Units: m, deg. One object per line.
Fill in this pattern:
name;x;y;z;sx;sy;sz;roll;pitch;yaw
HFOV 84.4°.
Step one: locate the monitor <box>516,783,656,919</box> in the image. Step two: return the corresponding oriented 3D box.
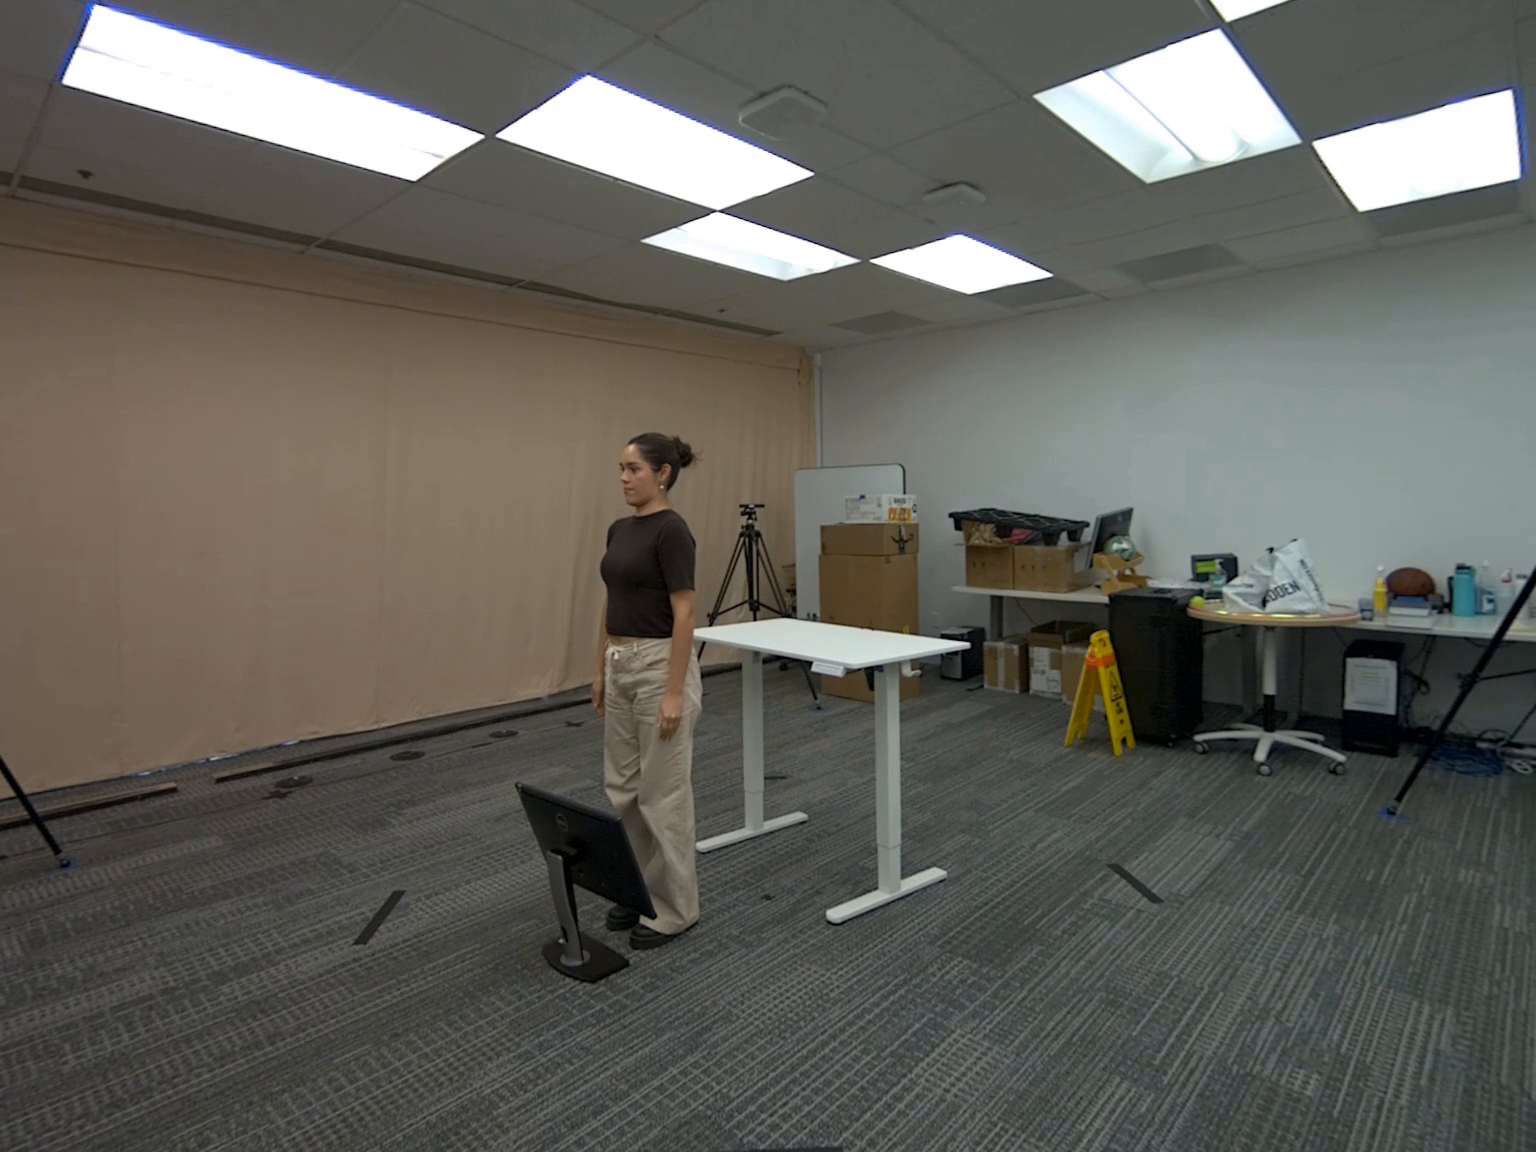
monitor;-0.593;0.935;2.576;0.557;0.520;0.182;1;8;43
